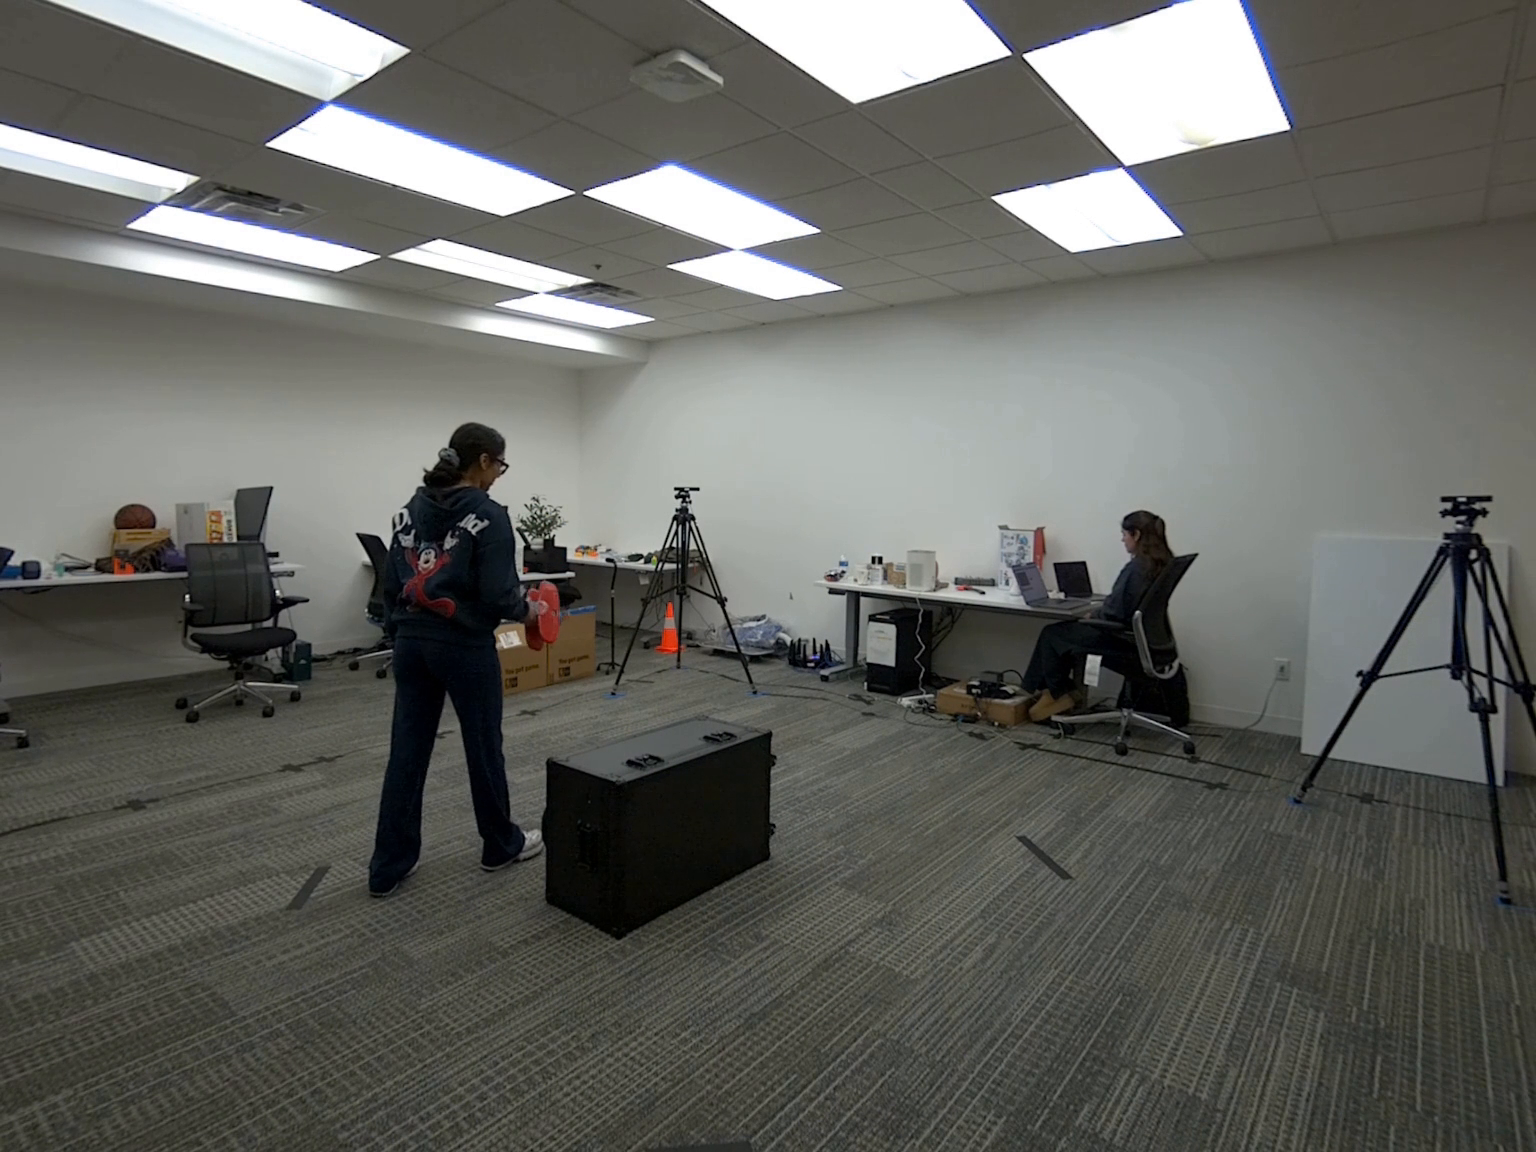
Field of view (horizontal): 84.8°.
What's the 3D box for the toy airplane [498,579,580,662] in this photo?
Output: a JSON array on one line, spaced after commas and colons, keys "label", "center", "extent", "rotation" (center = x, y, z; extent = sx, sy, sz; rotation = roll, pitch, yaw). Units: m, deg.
[{"label": "toy airplane", "center": [-0.888, 0.161, 3.210], "extent": [0.158, 0.253, 0.254], "rotation": [-20, -5, 19]}]
